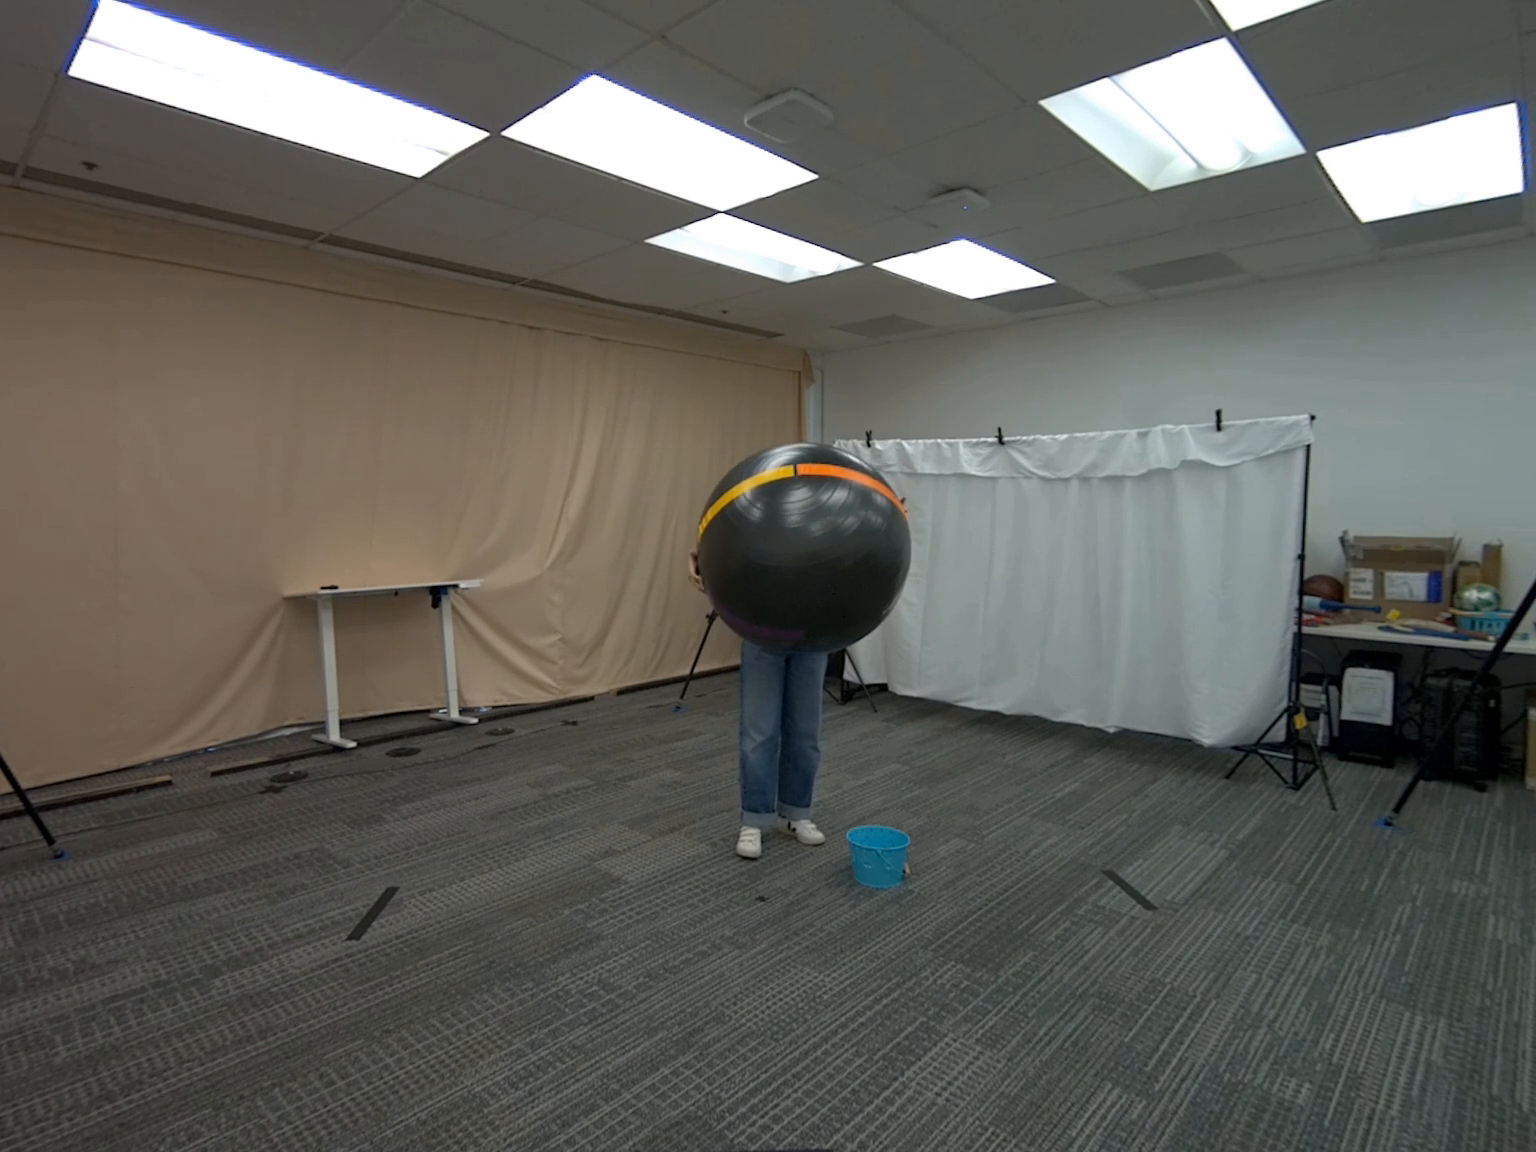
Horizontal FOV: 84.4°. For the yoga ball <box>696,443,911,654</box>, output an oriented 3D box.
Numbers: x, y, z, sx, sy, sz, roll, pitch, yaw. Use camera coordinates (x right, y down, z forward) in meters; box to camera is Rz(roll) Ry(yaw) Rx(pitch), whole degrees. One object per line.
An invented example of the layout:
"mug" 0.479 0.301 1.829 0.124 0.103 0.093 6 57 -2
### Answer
"yoga ball" 0.124 -0.096 2.993 0.757 0.756 0.760 0 4 -2
